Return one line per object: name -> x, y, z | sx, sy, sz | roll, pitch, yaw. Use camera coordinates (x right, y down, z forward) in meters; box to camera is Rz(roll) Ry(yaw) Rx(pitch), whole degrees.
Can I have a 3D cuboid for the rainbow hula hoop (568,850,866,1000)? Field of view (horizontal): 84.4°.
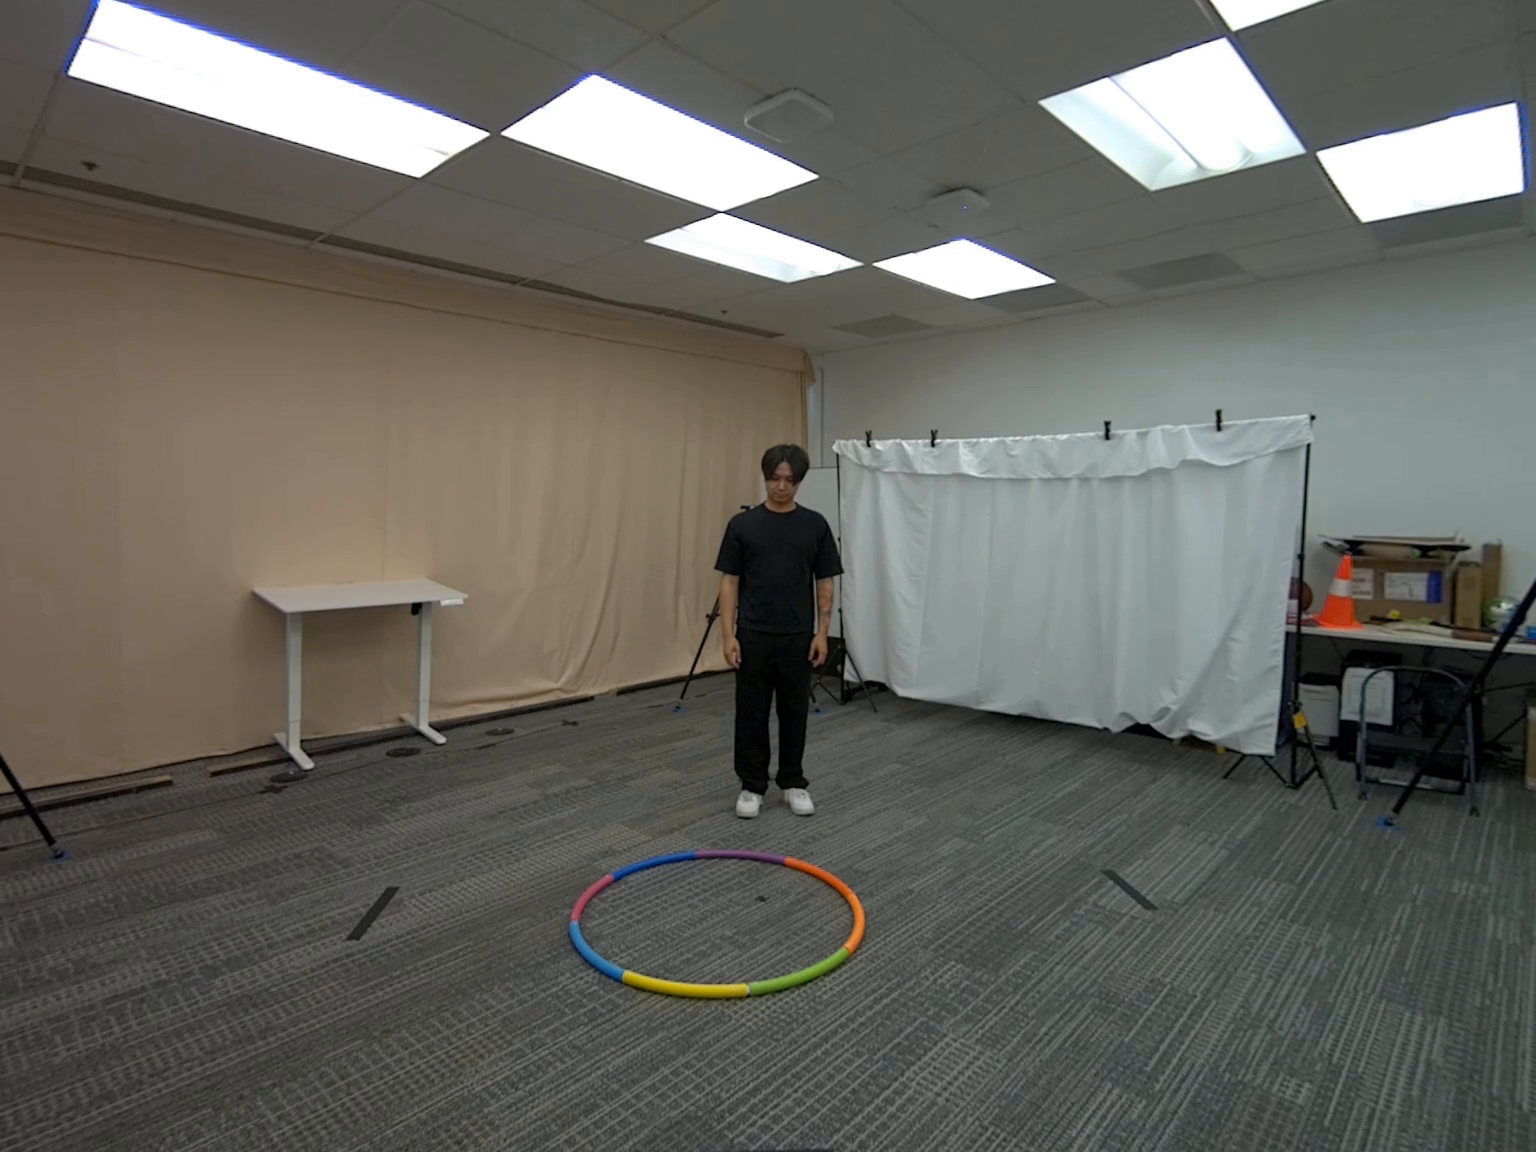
rainbow hula hoop -> -0.171, 1.124, 2.859 | 0.978, 0.035, 0.982 | -1, 4, -2
